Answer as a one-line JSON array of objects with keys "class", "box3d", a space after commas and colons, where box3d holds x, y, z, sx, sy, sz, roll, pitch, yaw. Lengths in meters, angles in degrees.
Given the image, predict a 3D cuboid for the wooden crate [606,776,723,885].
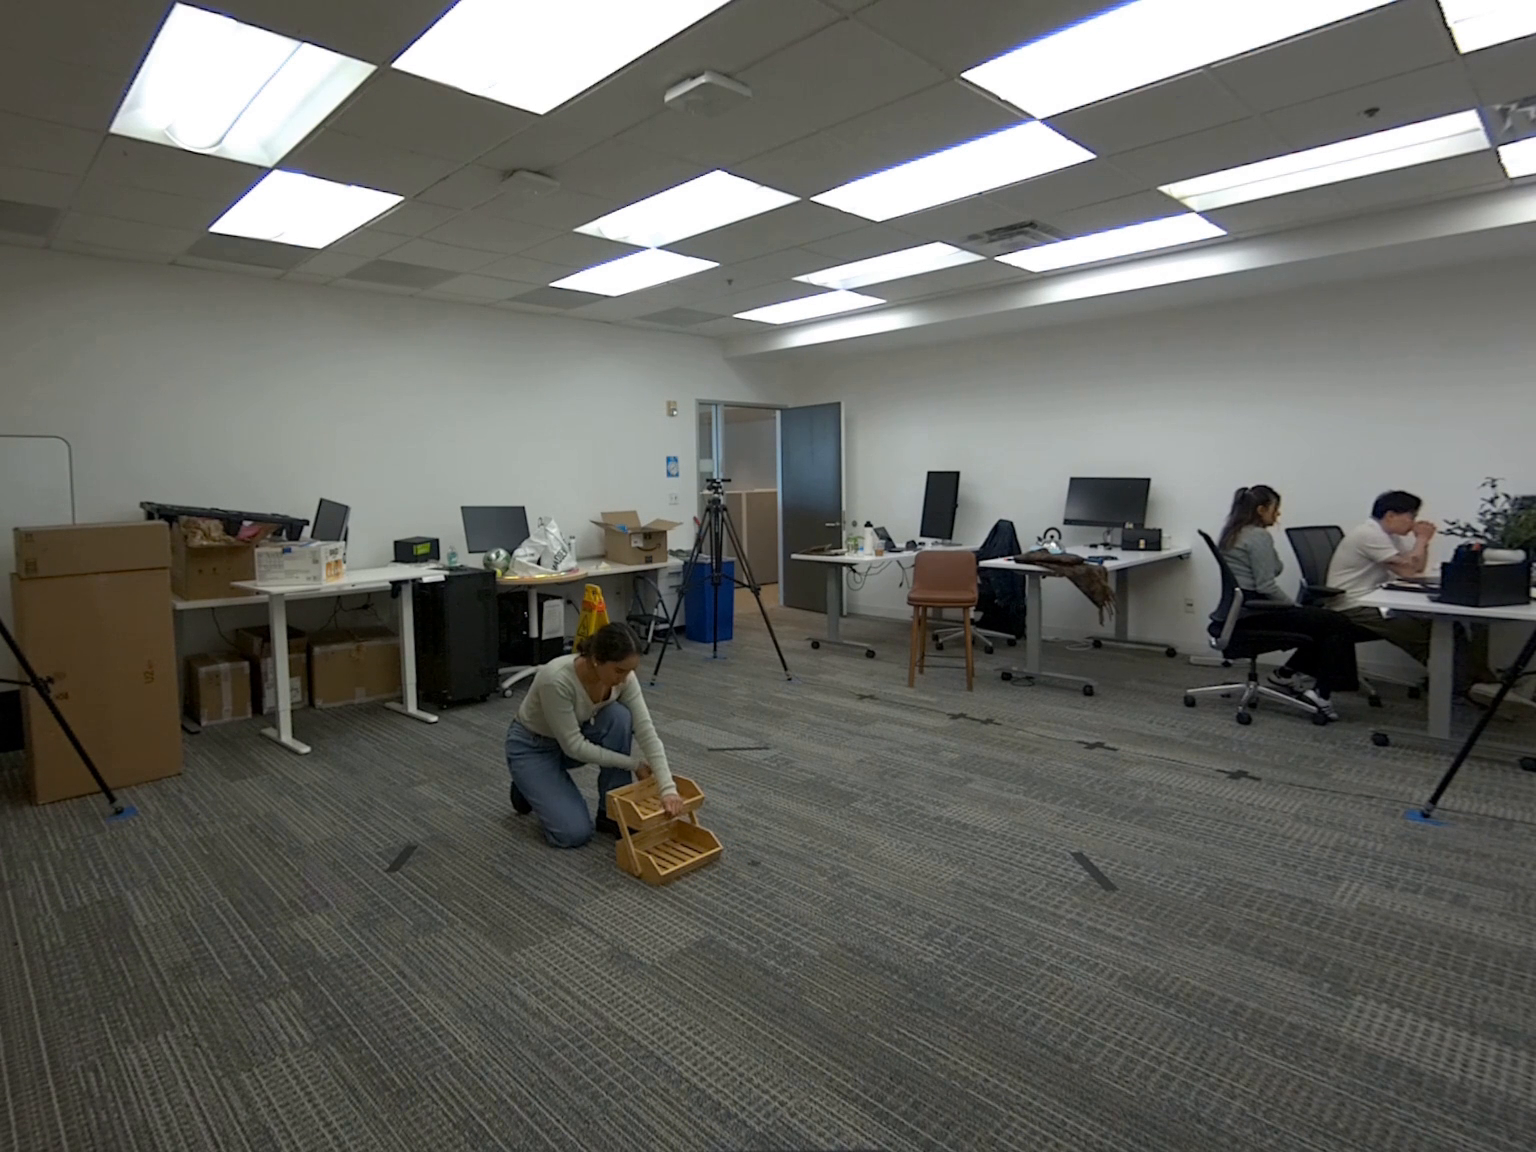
[{"class": "wooden crate", "box3d": [-0.371, 0.908, 3.122, 0.311, 0.272, 0.316, 3, 6, 43]}]
